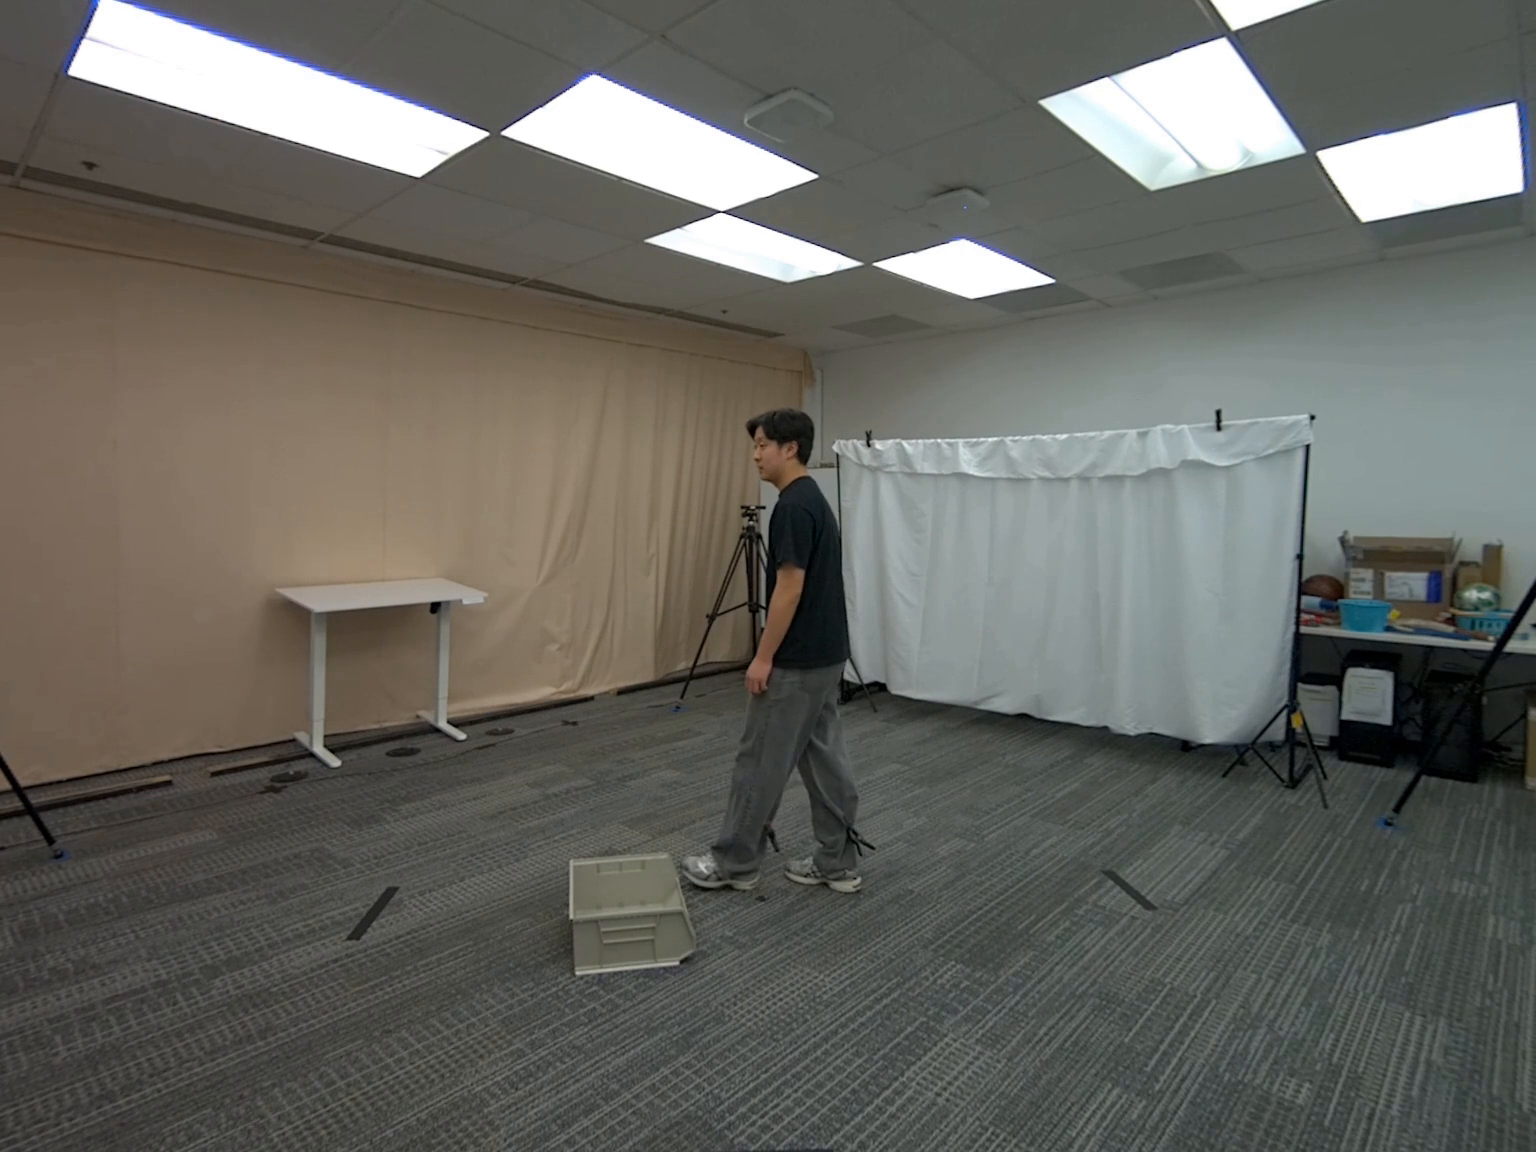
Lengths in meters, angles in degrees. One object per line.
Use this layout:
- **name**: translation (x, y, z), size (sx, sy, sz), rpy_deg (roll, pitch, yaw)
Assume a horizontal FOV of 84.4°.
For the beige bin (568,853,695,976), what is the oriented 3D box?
- **beige bin**: translation (-0.451, 1.083, 2.722), size (0.373, 0.188, 0.428), rpy_deg (-2, 5, -12)
